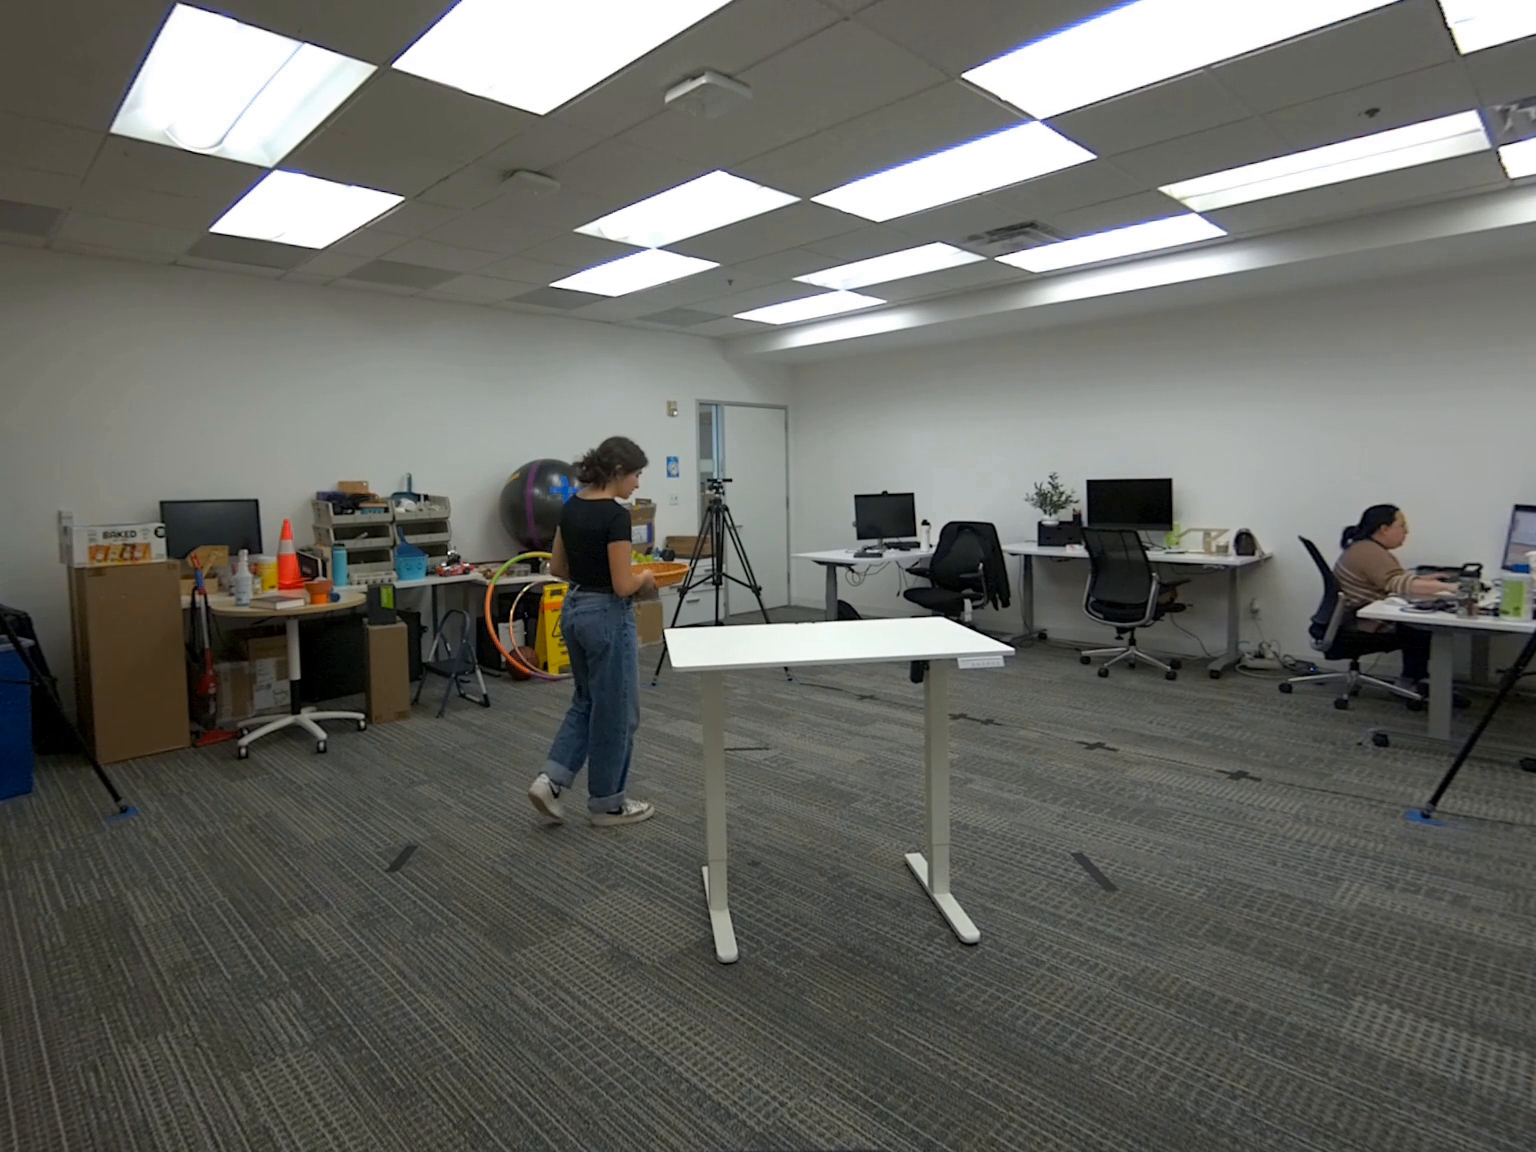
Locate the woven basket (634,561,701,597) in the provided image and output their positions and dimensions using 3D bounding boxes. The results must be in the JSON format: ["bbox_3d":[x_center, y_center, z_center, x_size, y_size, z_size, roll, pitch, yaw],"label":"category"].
[{"bbox_3d":[-0.507,0.006,3.698,0.261,0.073,0.342,10,13,39],"label":"woven basket"}]
